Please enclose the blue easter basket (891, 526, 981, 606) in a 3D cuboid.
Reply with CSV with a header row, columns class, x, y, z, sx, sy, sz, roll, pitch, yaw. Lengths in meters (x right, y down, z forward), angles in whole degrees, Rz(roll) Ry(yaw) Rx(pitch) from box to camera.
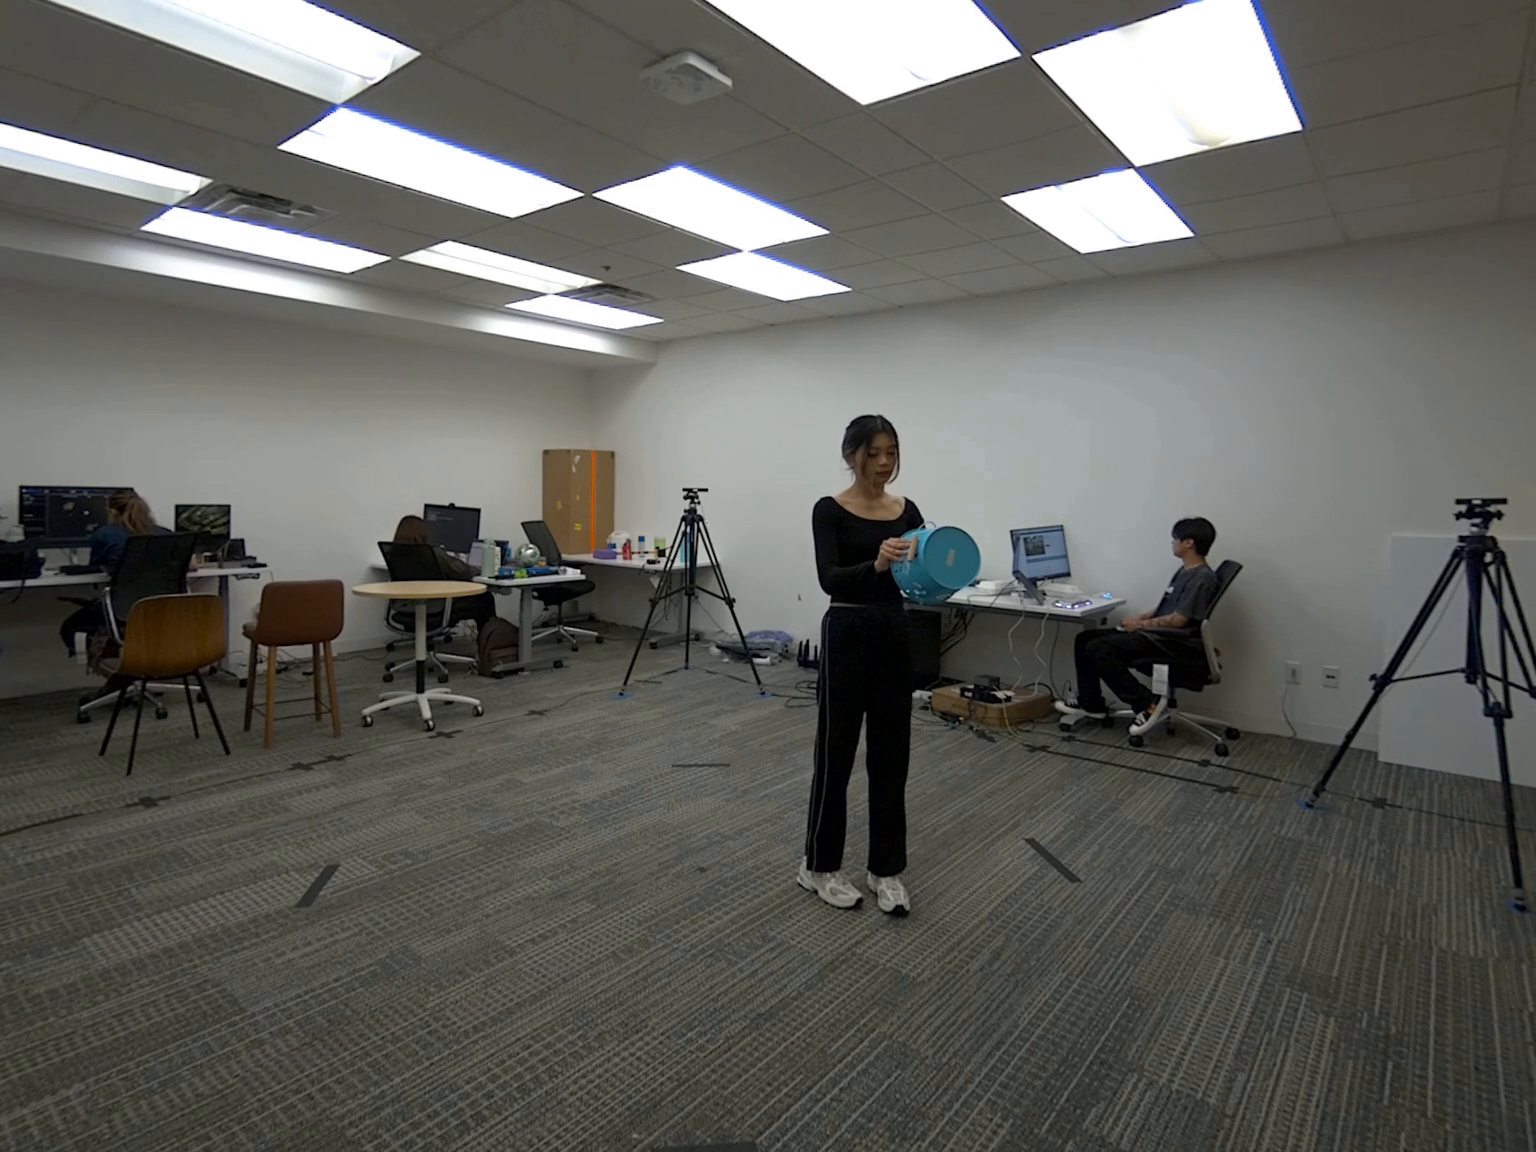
class,x,y,z,sx,sy,sz,roll,pitch,yaw
blue easter basket,0.495,-0.047,2.480,0.240,0.246,0.157,0,-10,-15
